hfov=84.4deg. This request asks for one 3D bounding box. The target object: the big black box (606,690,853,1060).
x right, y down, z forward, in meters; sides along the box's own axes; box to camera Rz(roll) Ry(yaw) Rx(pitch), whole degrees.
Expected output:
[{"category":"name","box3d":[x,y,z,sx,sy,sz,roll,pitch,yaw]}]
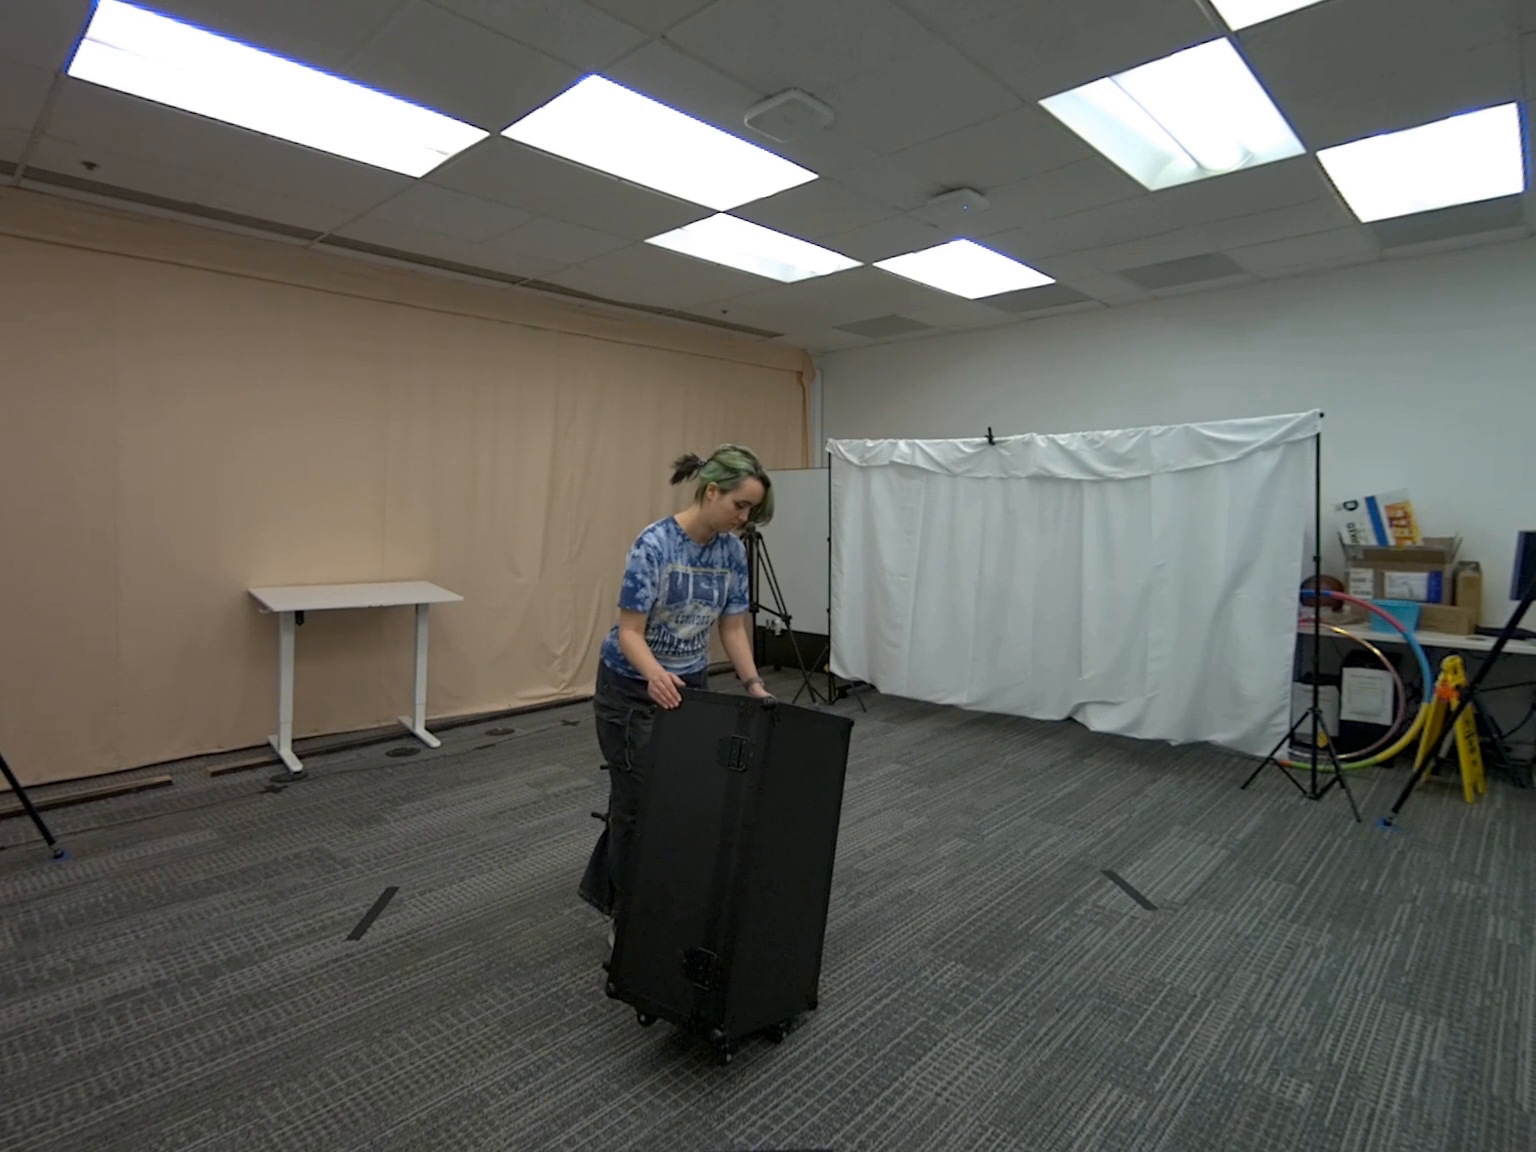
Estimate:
[{"category":"big black box","box3d":[-0.088,0.763,2.263,0.408,0.866,0.503,1,-13,33]}]
